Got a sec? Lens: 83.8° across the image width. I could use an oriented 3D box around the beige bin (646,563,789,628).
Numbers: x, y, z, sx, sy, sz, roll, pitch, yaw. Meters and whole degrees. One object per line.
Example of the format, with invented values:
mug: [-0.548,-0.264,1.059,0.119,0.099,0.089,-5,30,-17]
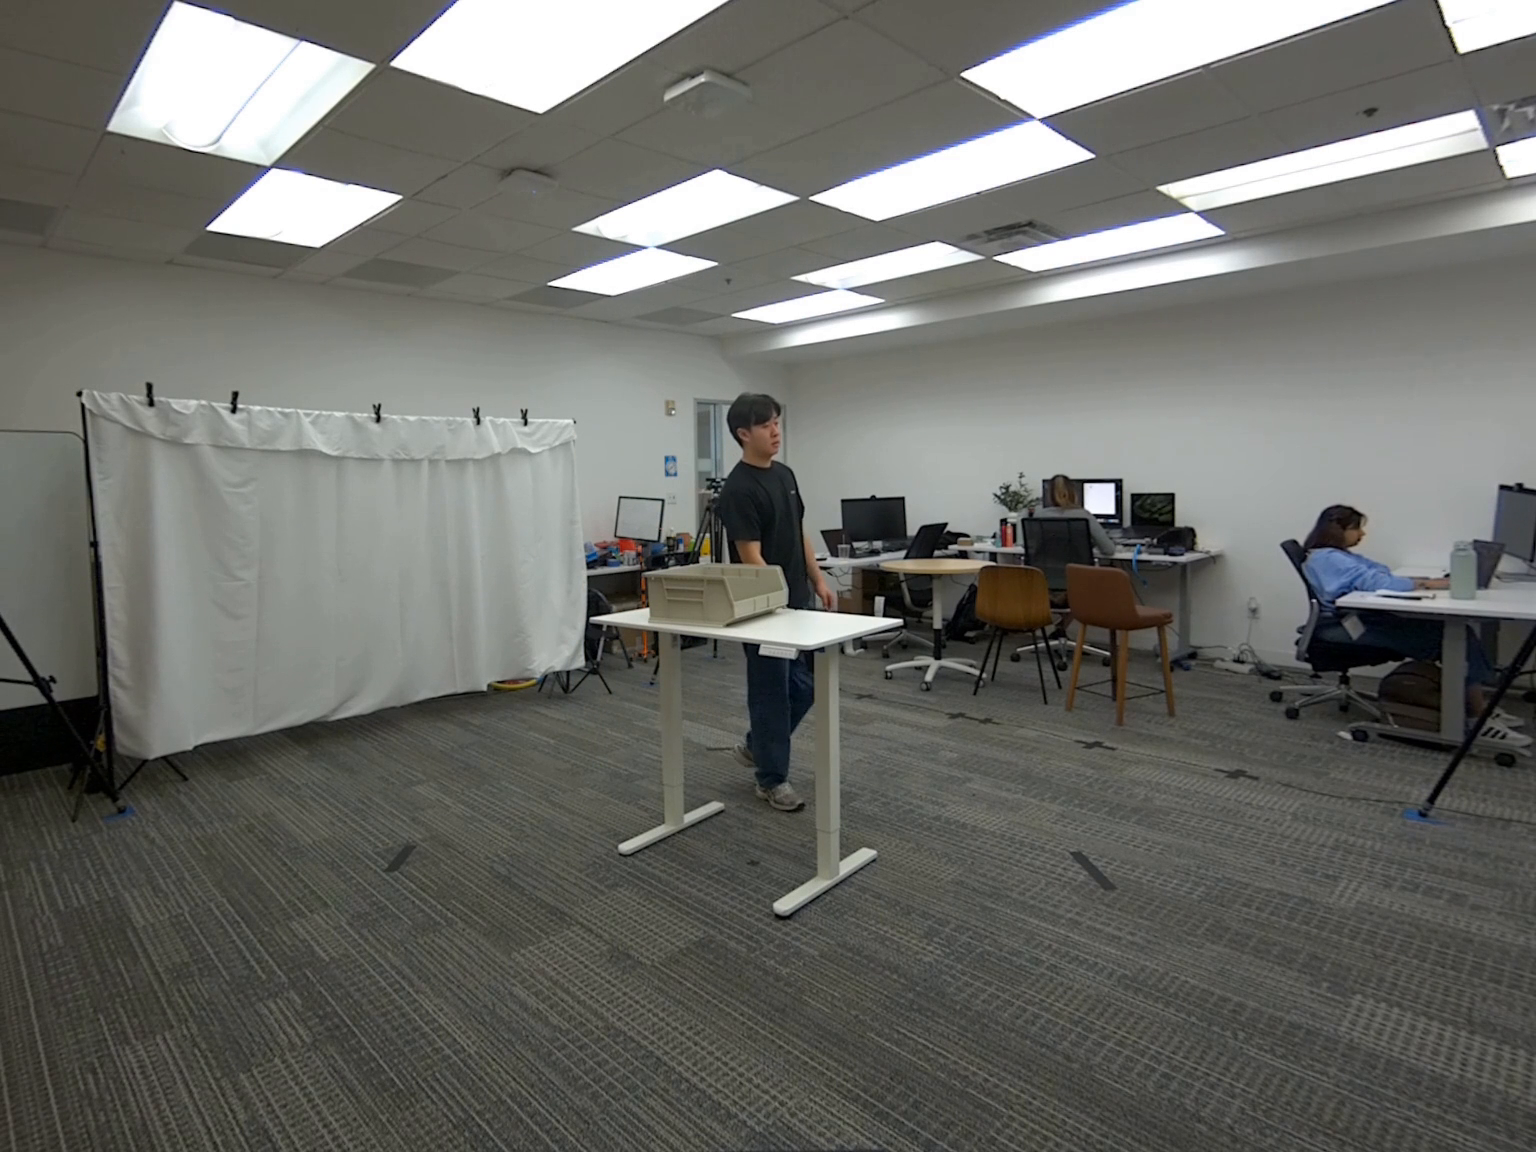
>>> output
beige bin: [-0.183,0.068,3.163,0.387,0.188,0.413,1,6,29]
